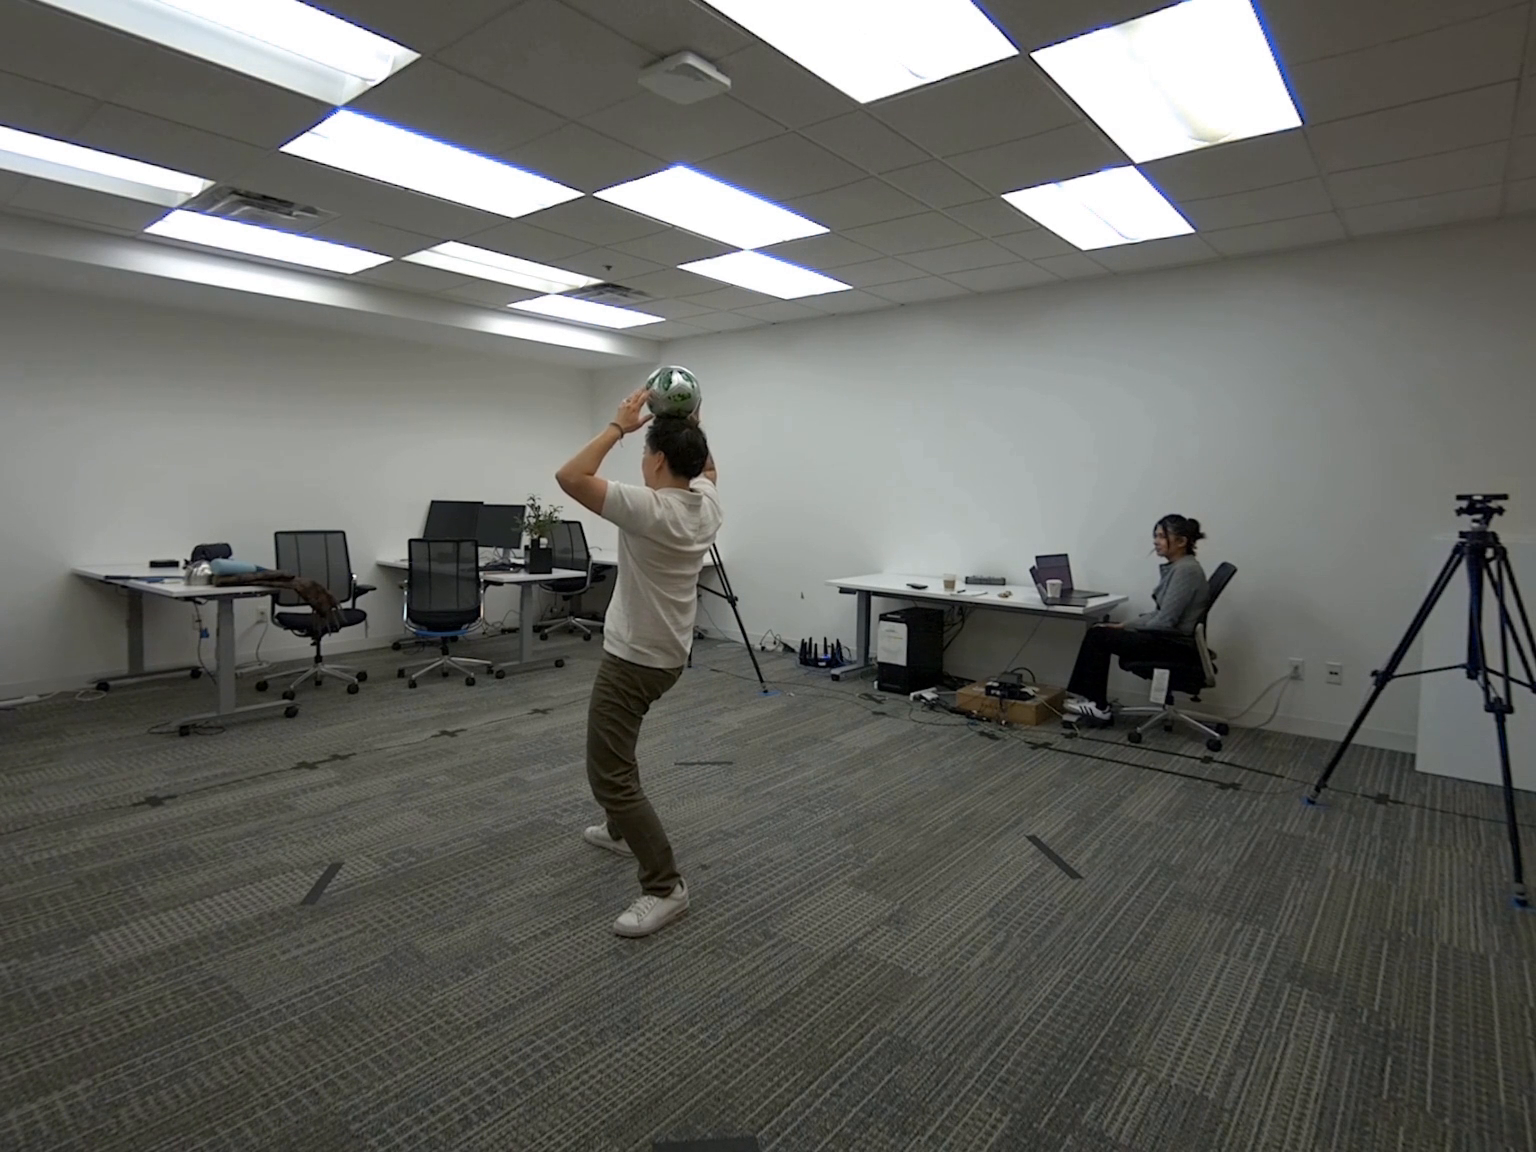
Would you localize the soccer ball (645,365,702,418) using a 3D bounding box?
[{"bbox_3d":[-0.327,-0.611,2.843,0.187,0.187,0.188,1,4,-2],"label":"soccer ball"}]
